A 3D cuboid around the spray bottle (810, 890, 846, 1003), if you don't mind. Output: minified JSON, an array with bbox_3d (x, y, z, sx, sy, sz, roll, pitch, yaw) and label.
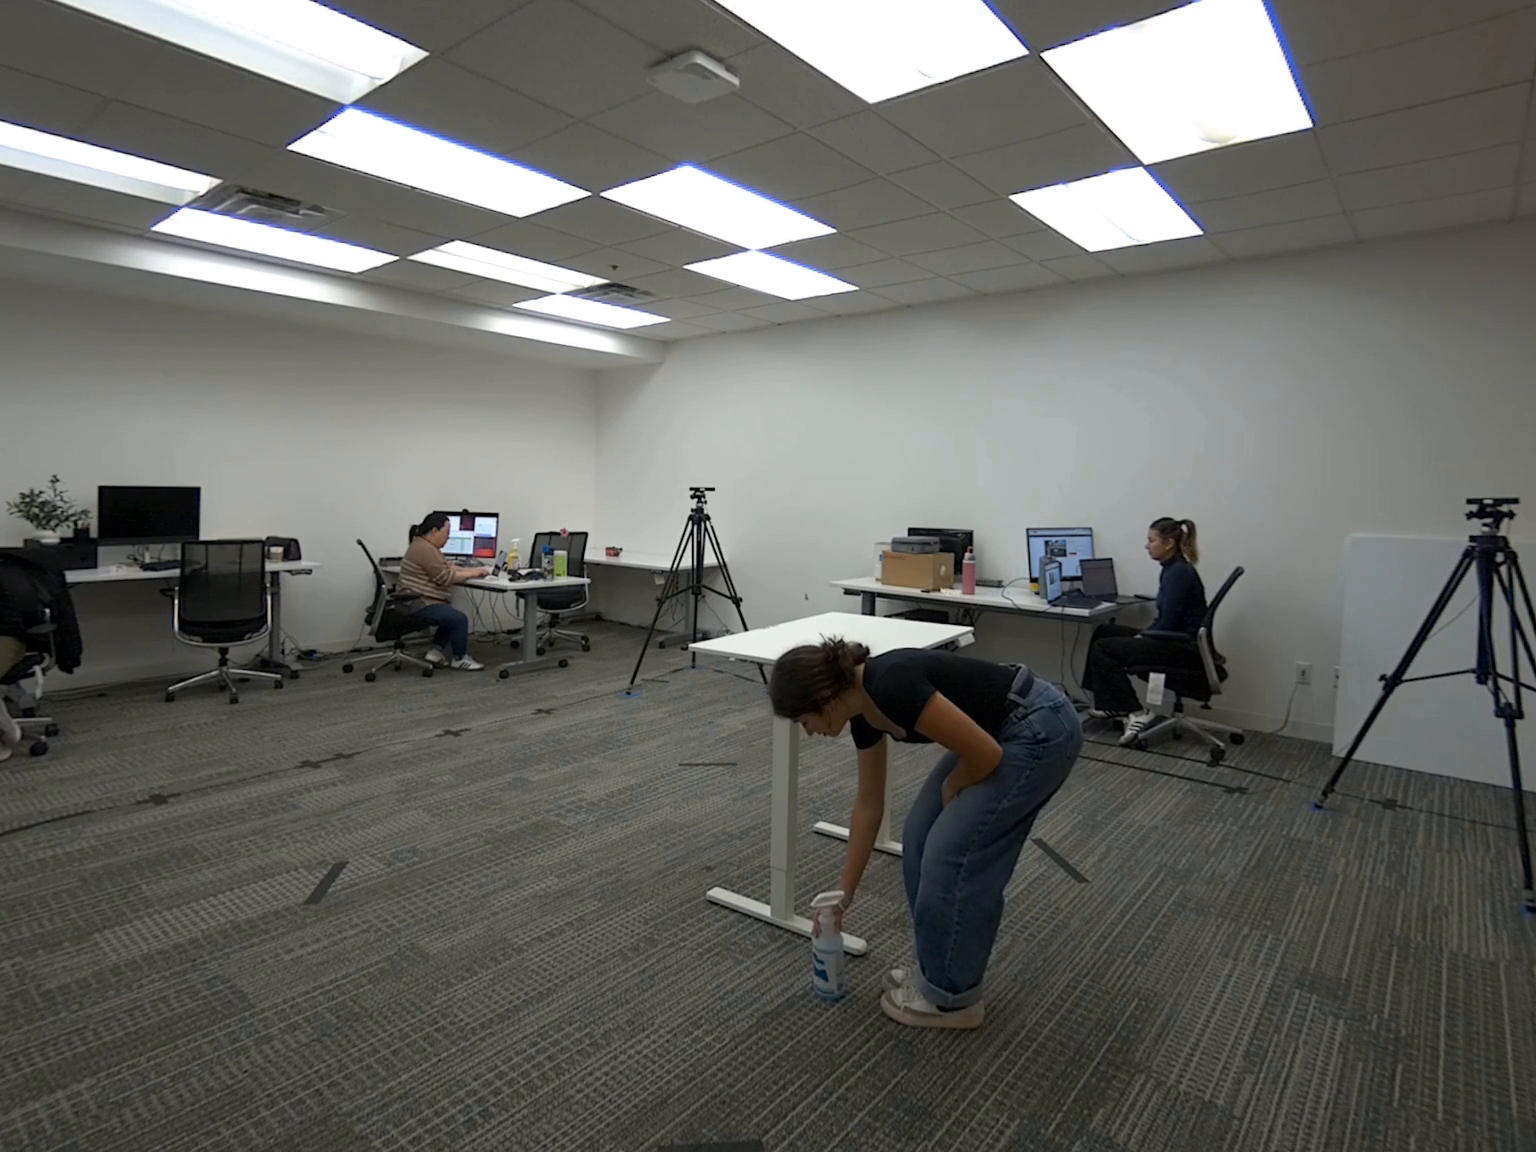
[{"bbox_3d":[0.165,1.000,2.334,0.092,0.294,0.086,3,11,17],"label":"spray bottle"}]
